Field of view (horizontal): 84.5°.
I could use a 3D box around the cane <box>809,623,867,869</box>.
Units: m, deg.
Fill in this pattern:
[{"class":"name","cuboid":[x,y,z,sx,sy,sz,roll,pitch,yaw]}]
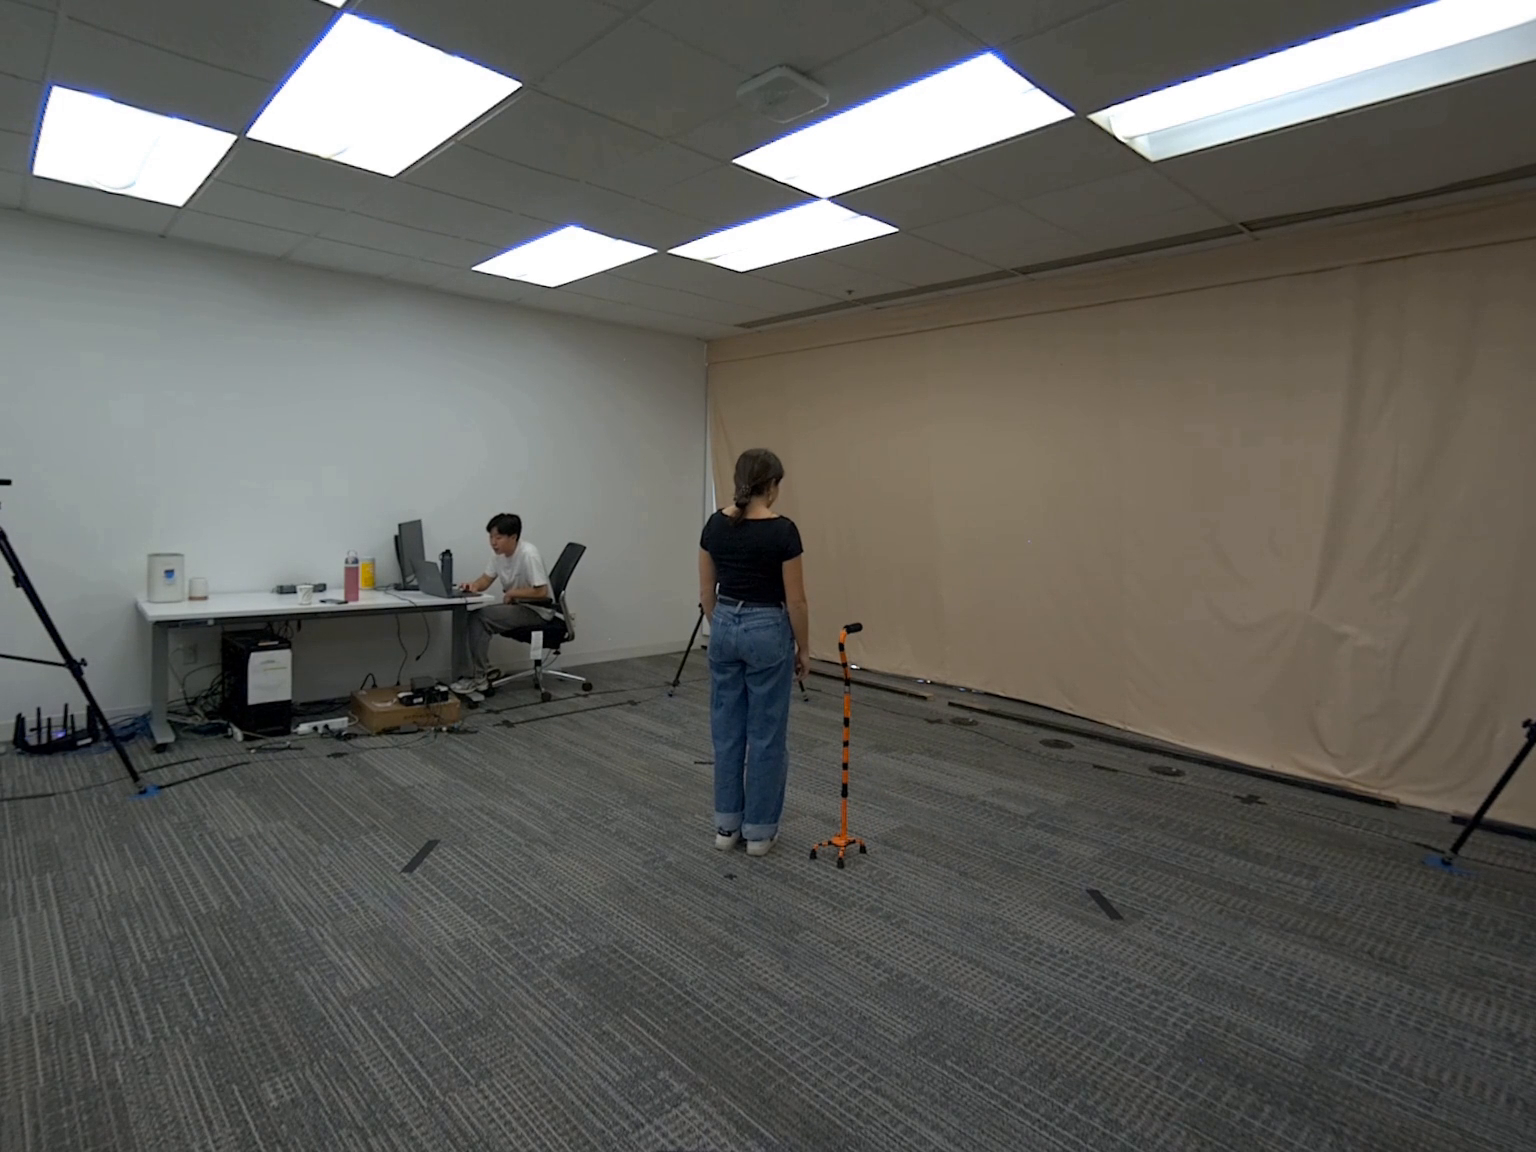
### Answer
[{"class":"cane","cuboid":[0.282,0.650,3.290,0.155,0.907,0.202,2,1,32]}]
